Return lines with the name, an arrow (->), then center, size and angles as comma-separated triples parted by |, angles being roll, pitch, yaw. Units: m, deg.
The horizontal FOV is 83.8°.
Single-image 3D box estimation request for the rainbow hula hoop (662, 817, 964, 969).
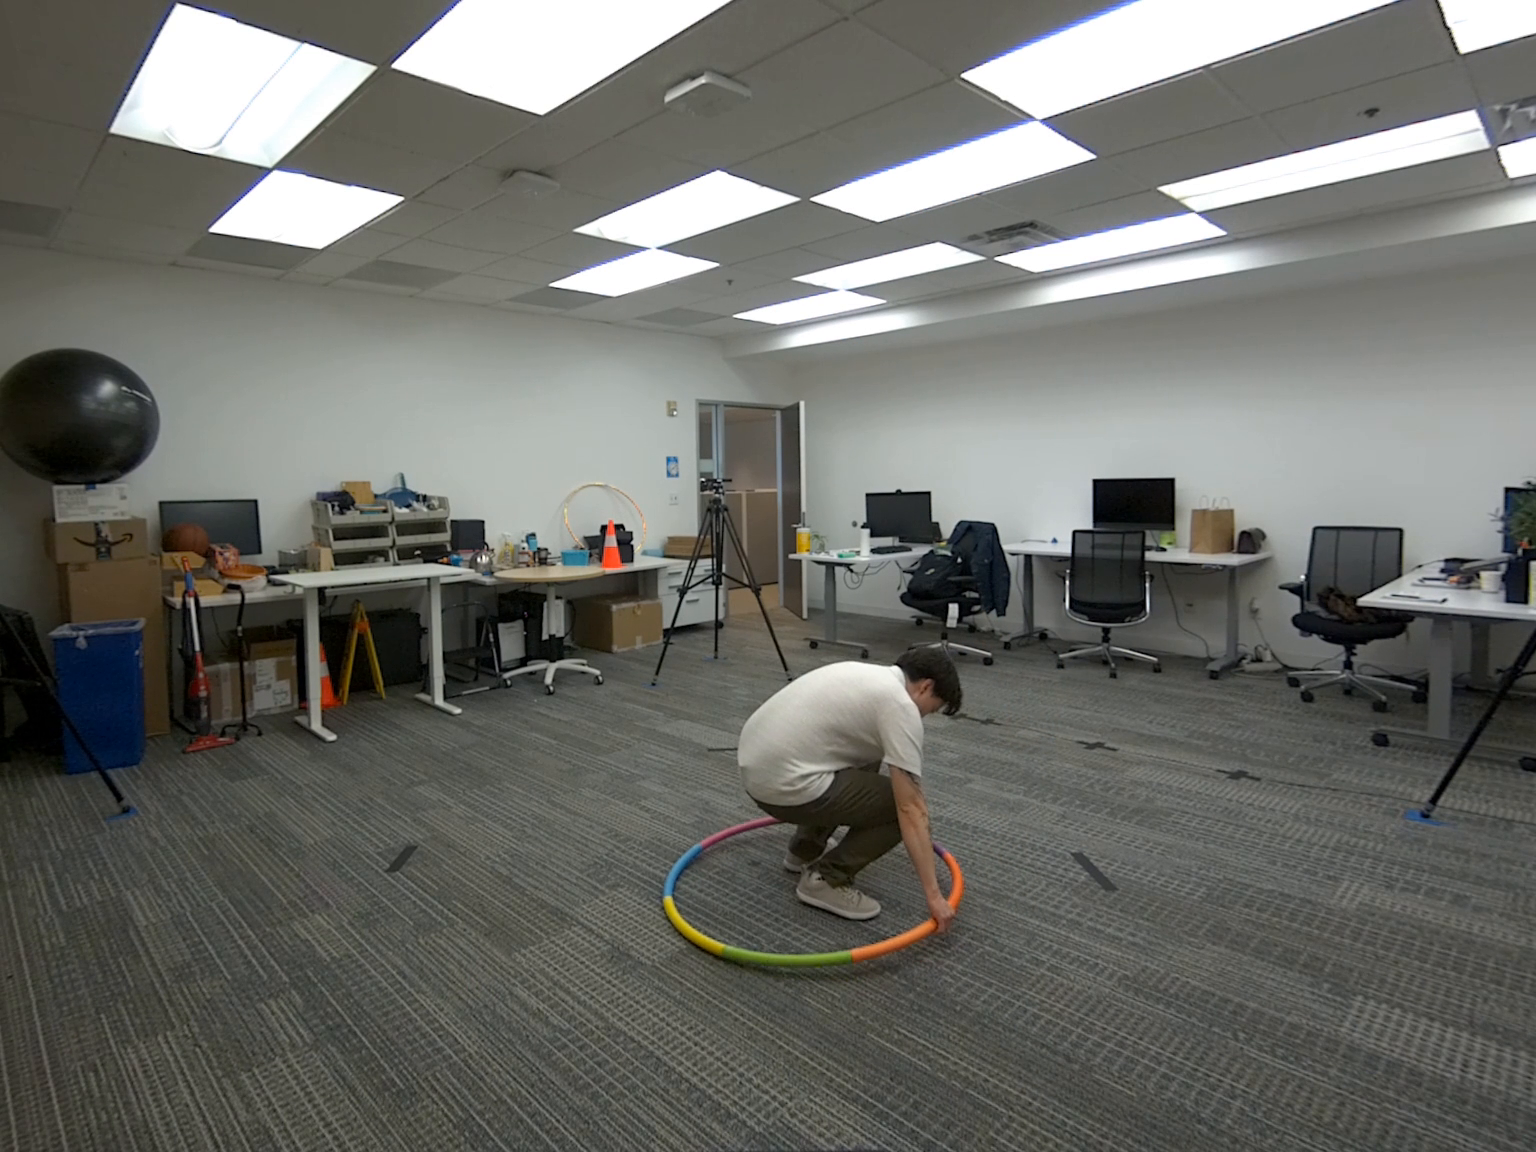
rainbow hula hoop -> 0.146, 0.995, 2.868 | 0.978, 0.035, 0.986 | -5, 9, -1
